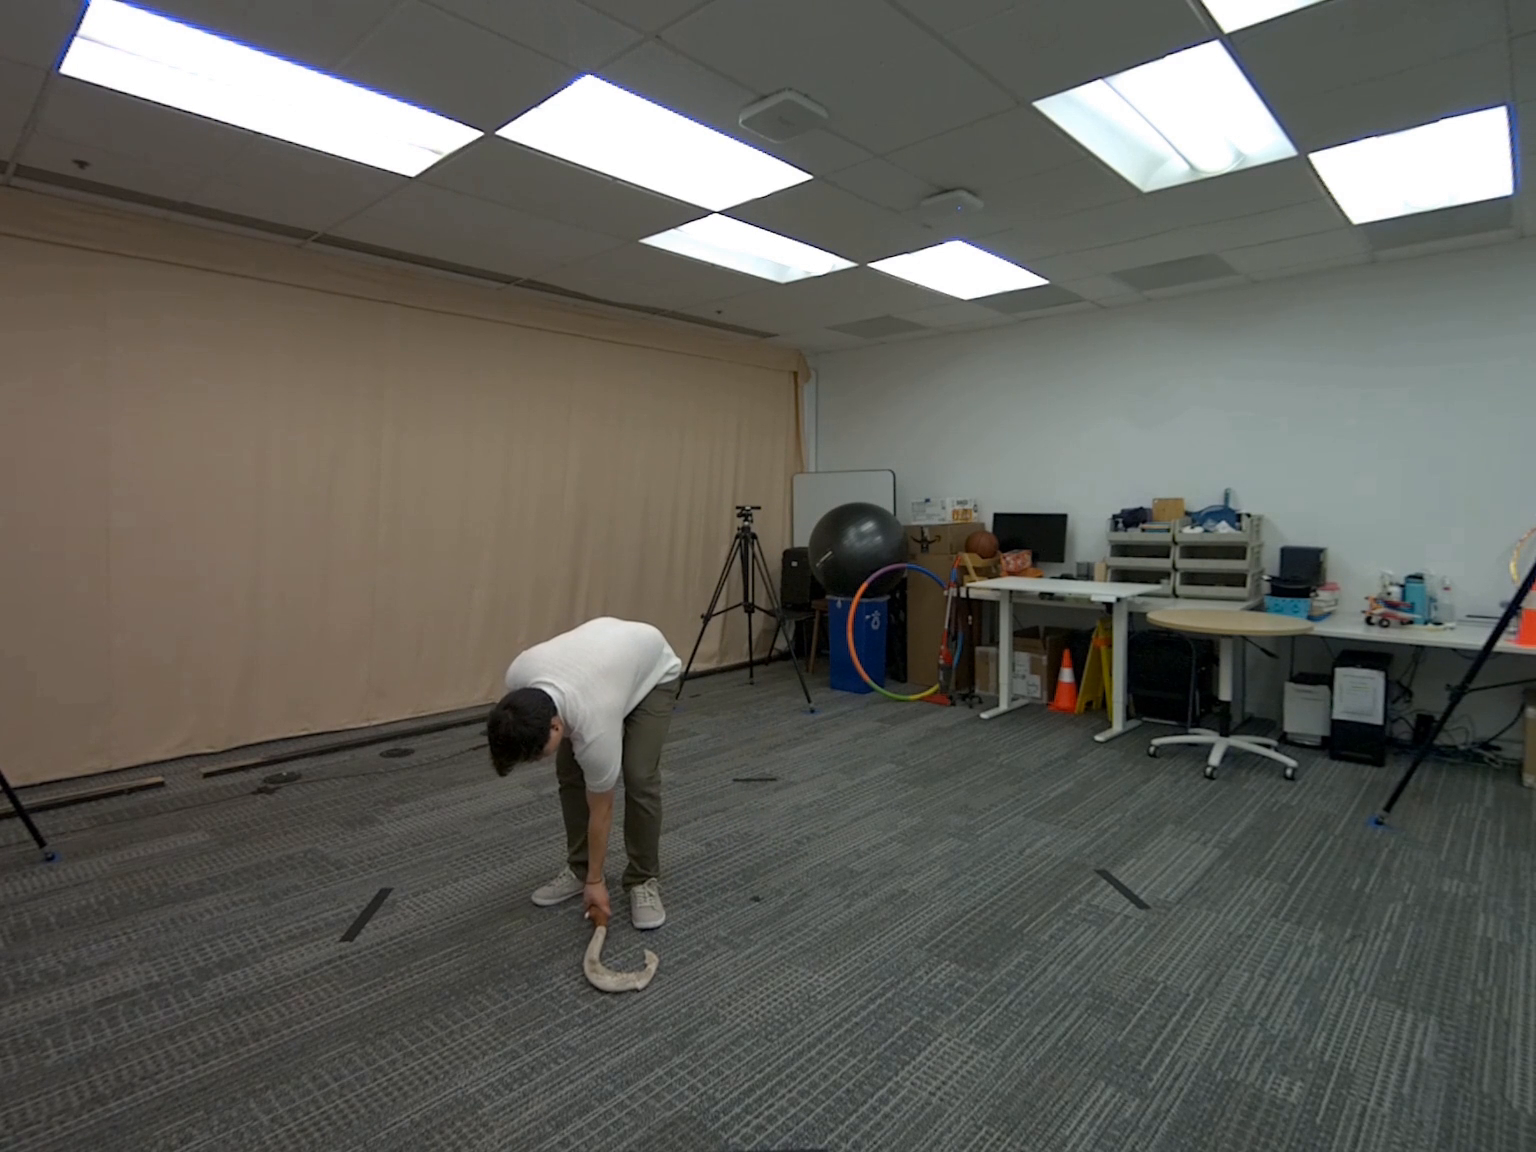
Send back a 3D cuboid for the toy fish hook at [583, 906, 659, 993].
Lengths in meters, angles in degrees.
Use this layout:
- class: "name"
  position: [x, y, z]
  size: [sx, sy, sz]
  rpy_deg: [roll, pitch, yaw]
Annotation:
- class: "toy fish hook"
  position: [-0.470, 1.146, 2.646]
  size: [0.221, 0.048, 0.516]
  rpy_deg: [8, 6, -16]
